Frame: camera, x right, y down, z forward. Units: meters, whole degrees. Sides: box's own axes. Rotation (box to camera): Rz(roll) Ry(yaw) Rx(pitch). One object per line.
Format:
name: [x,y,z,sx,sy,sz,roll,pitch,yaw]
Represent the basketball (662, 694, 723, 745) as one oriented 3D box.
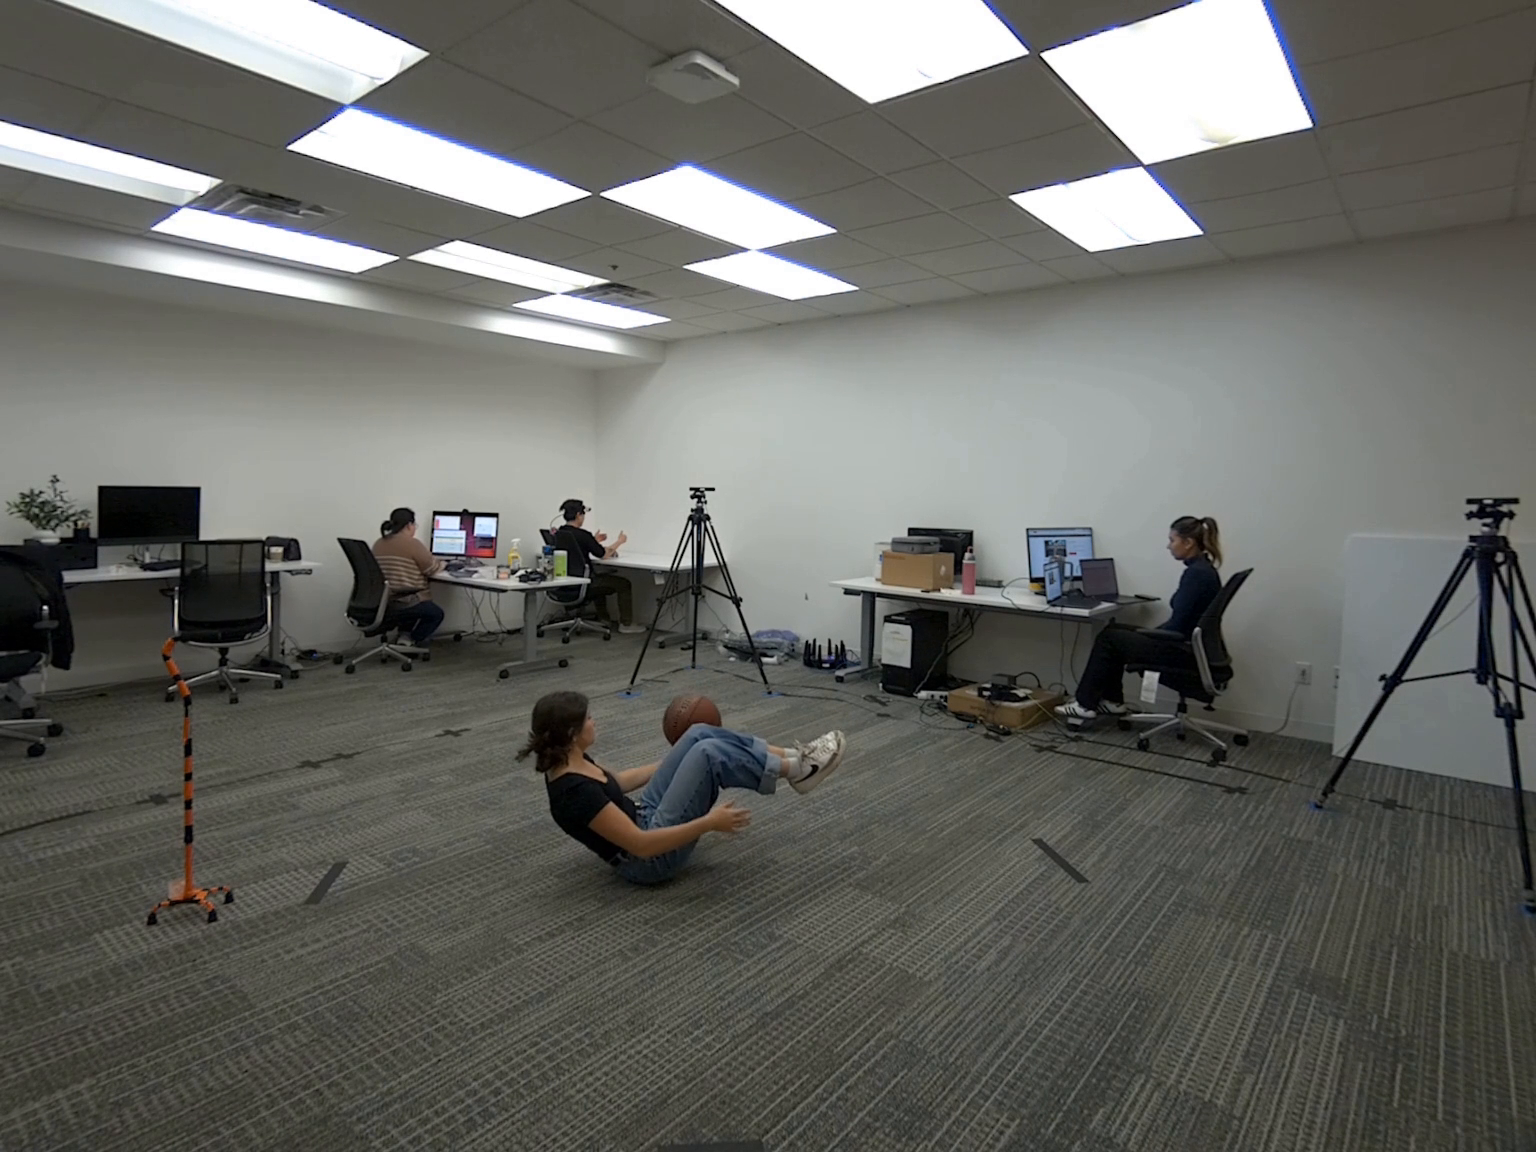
basketball: [-0.309,0.588,3.433,0.235,0.235,0.237,1,4,-2]
